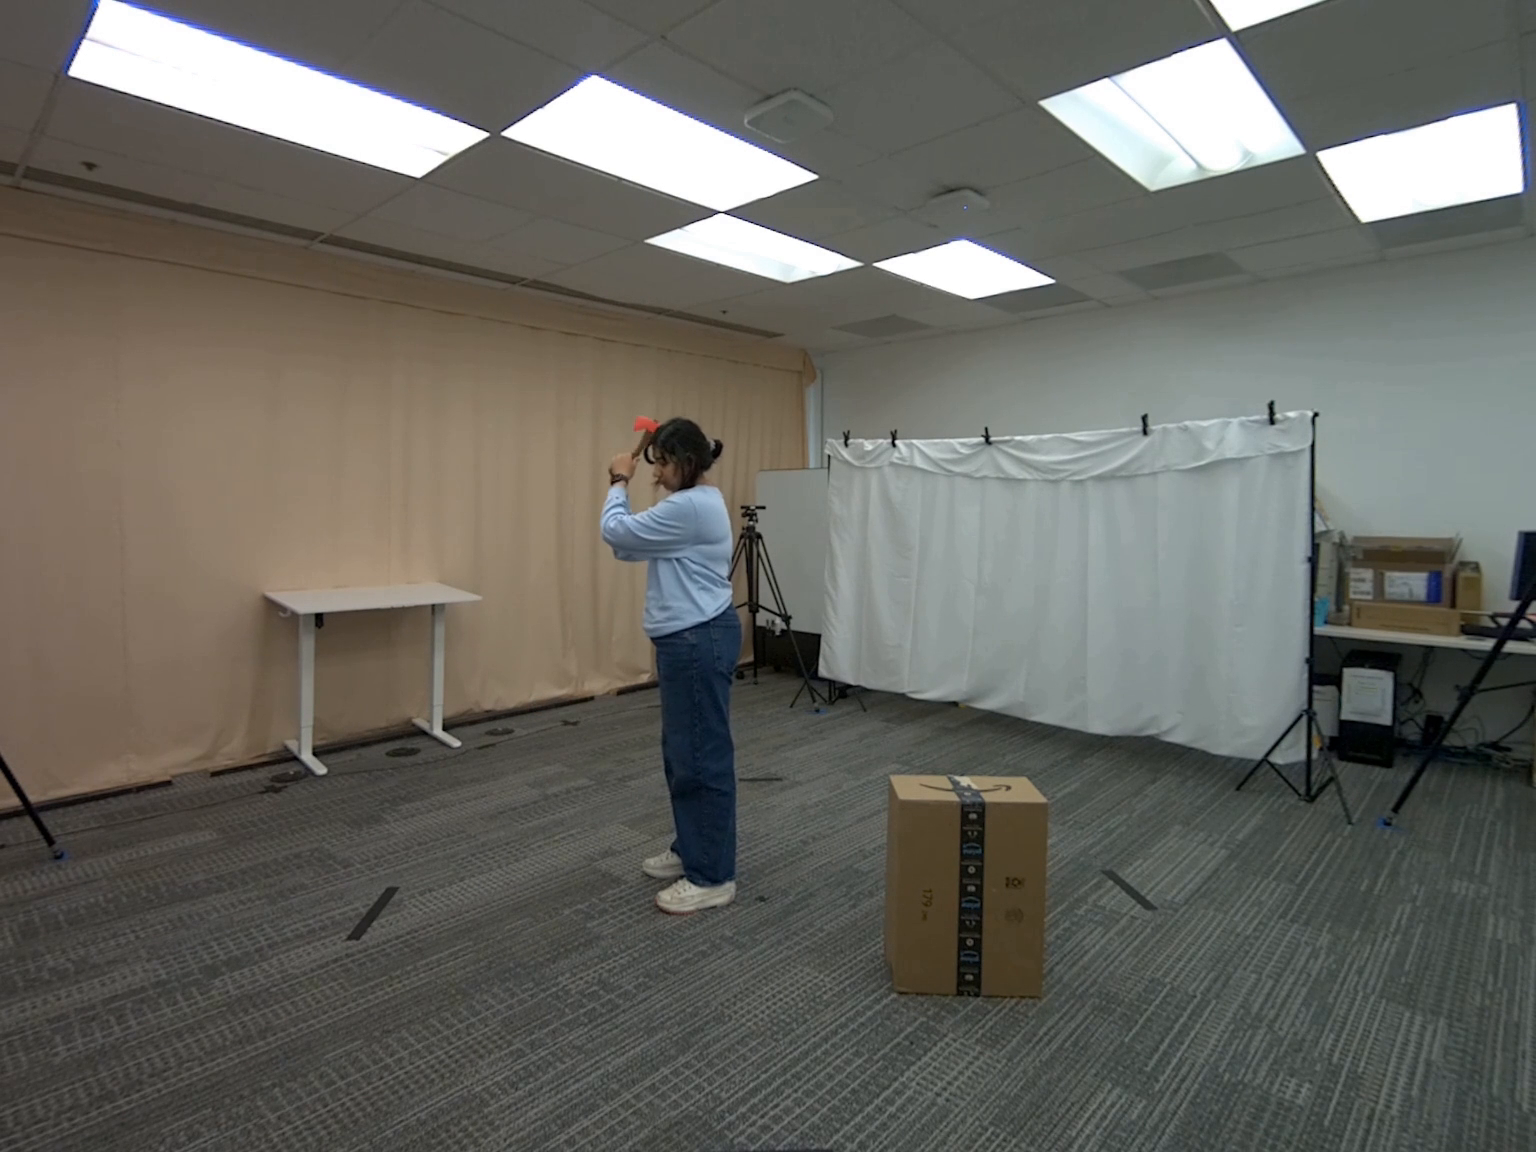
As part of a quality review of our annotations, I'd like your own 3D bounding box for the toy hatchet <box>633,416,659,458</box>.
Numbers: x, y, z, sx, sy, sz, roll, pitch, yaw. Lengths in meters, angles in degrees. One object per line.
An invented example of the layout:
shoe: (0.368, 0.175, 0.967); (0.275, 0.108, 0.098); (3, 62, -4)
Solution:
toy hatchet: (-0.528, -0.482, 3.145); (0.269, 0.130, 0.030); (-40, 9, -11)
